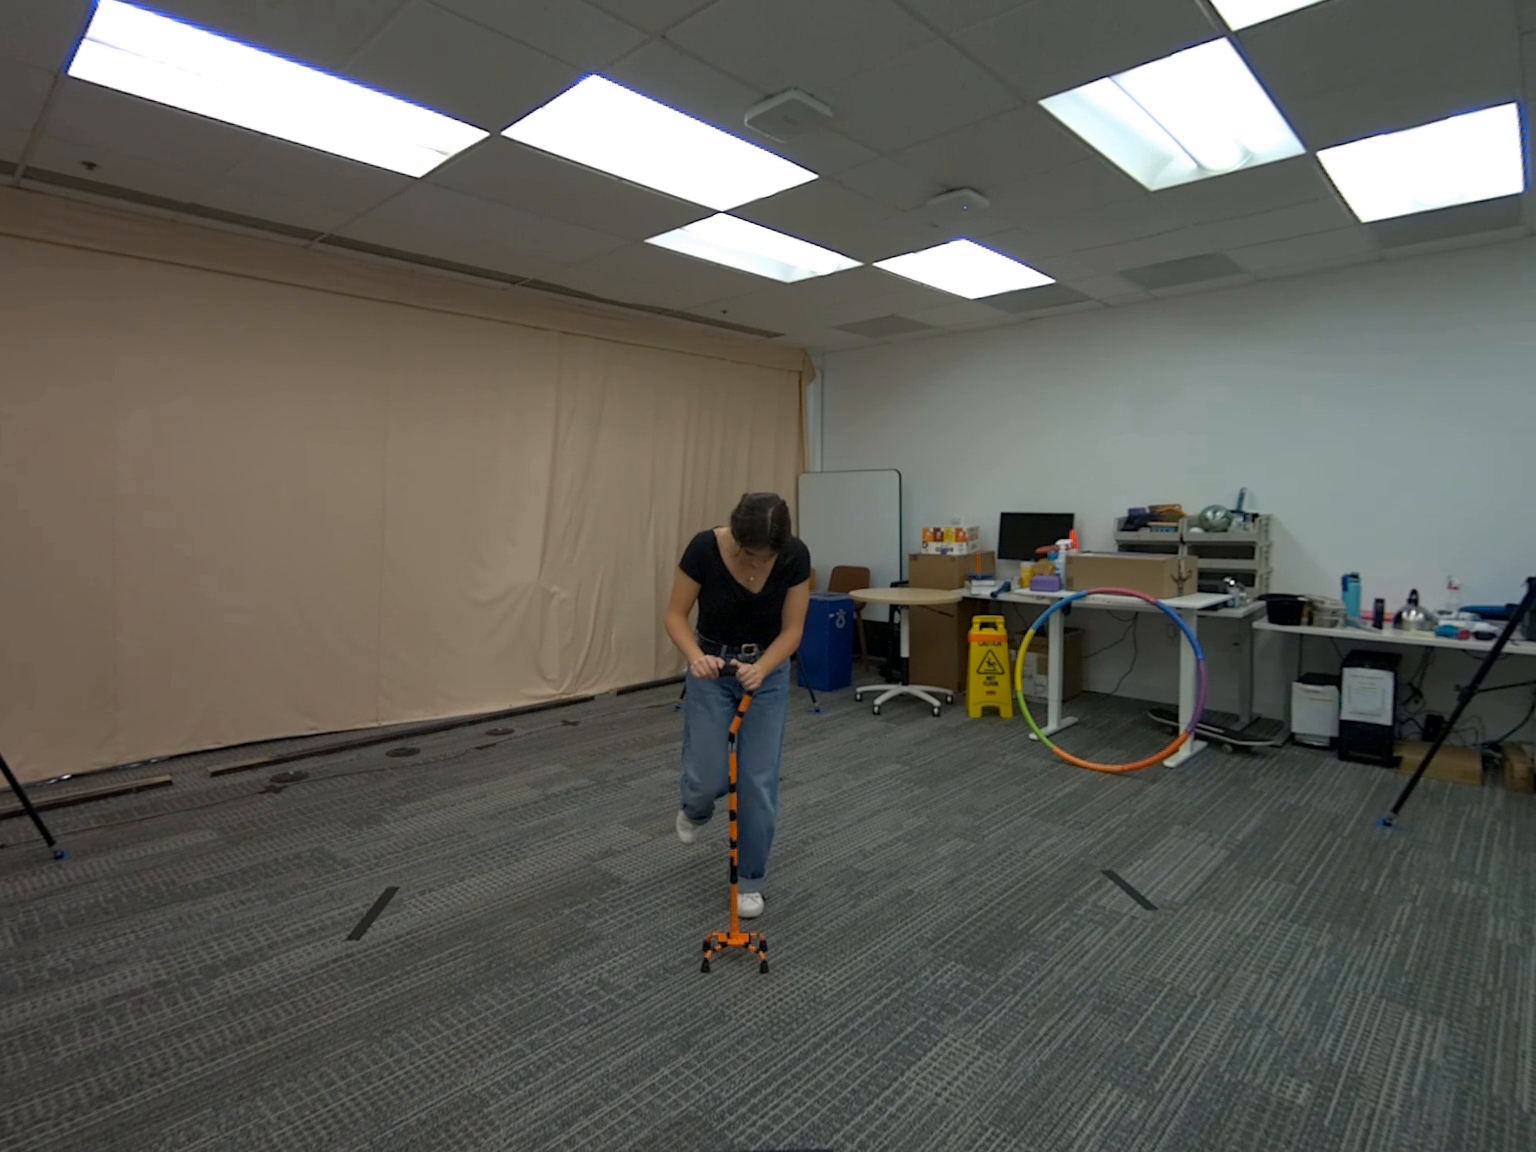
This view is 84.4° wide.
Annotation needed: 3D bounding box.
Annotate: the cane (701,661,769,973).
[{"bbox_3d":[-0.100,0.718,2.554,0.206,0.906,0.152,0,4,0],"label":"cane"}]
